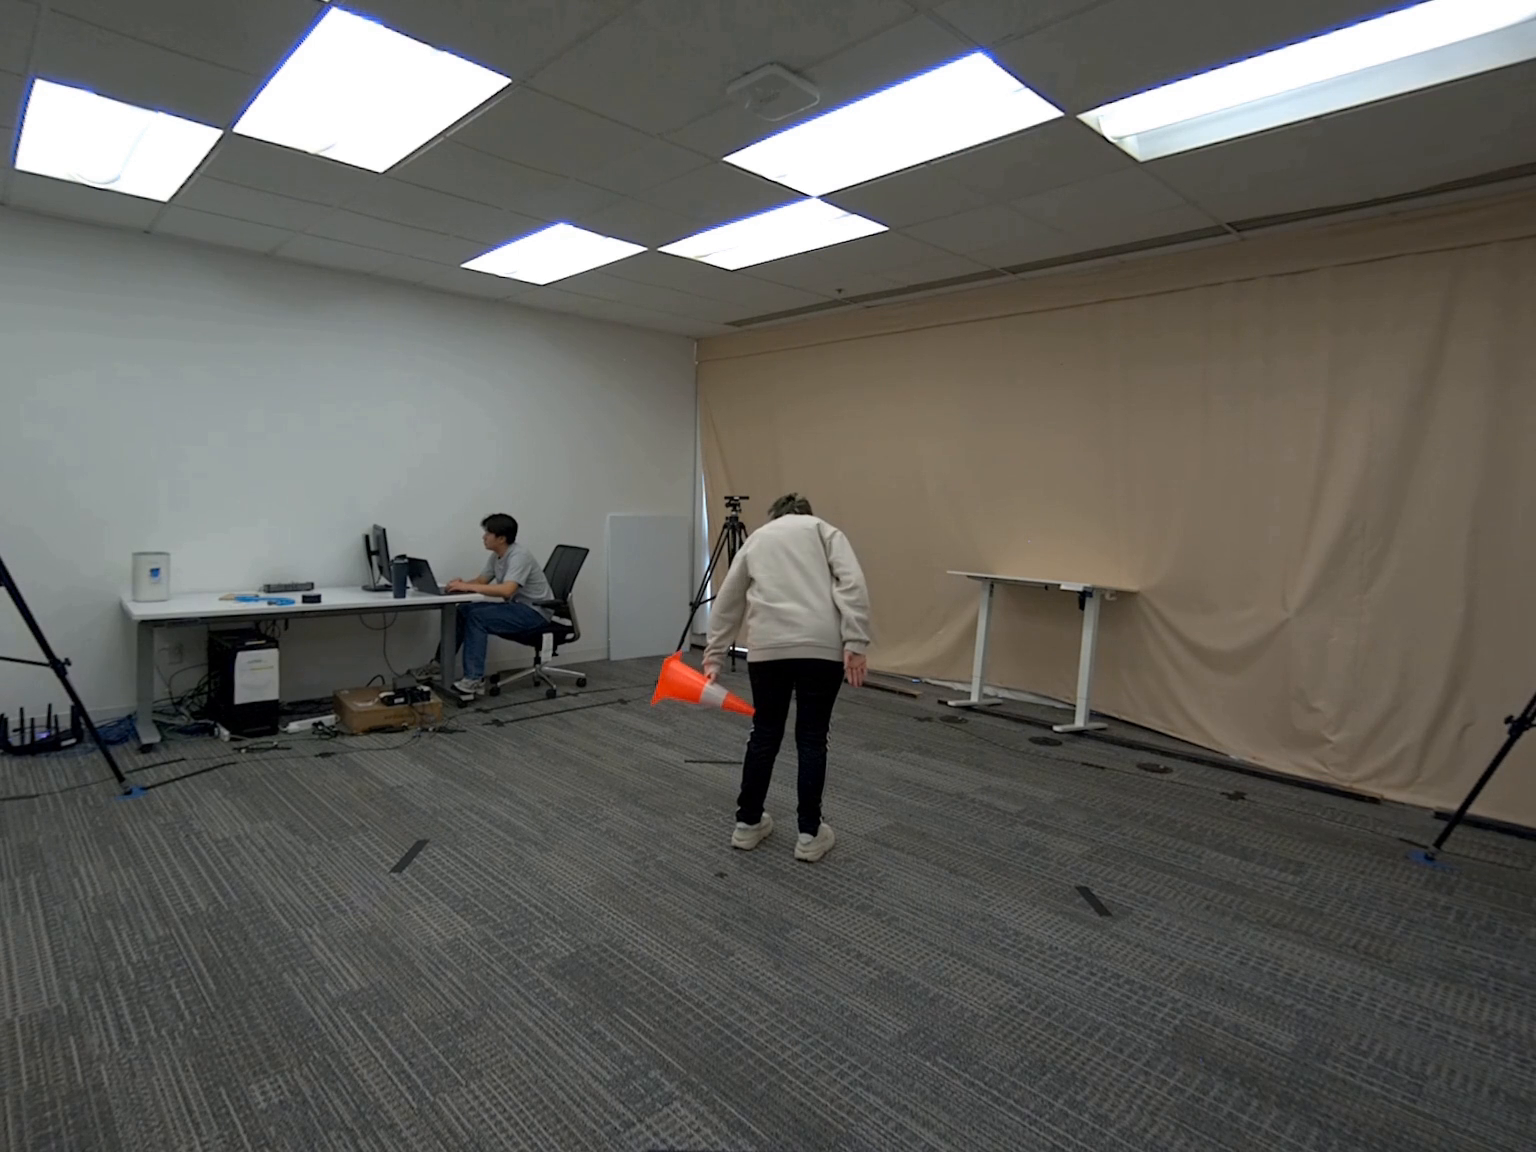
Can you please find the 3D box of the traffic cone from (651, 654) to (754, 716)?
[{"bbox_3d":[-0.233,0.464,3.320,0.388,0.203,0.202,20,15,11],"label":"traffic cone"}]
